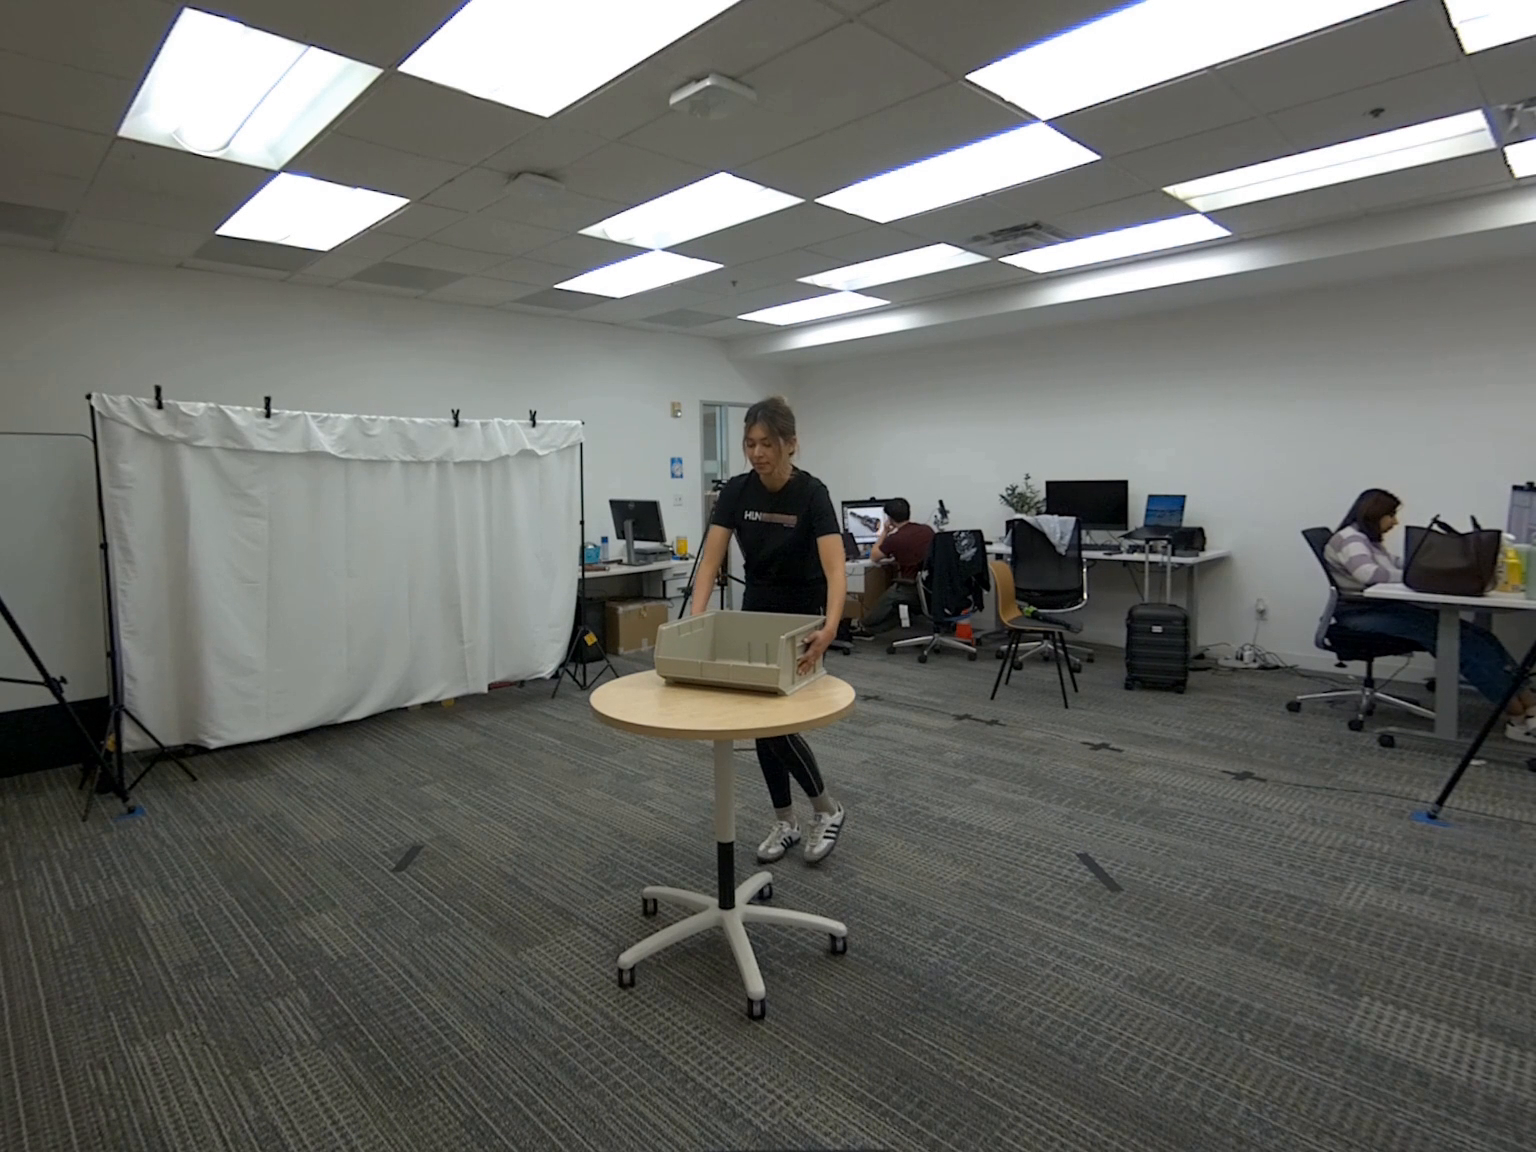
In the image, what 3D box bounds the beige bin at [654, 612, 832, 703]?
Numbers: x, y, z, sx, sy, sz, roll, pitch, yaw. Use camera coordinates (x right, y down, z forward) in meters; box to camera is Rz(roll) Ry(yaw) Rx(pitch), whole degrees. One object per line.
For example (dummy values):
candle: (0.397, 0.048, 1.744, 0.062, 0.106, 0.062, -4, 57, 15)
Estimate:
beige bin: (-0.071, 0.234, 2.629, 0.432, 0.188, 0.370, 1, 4, 25)
